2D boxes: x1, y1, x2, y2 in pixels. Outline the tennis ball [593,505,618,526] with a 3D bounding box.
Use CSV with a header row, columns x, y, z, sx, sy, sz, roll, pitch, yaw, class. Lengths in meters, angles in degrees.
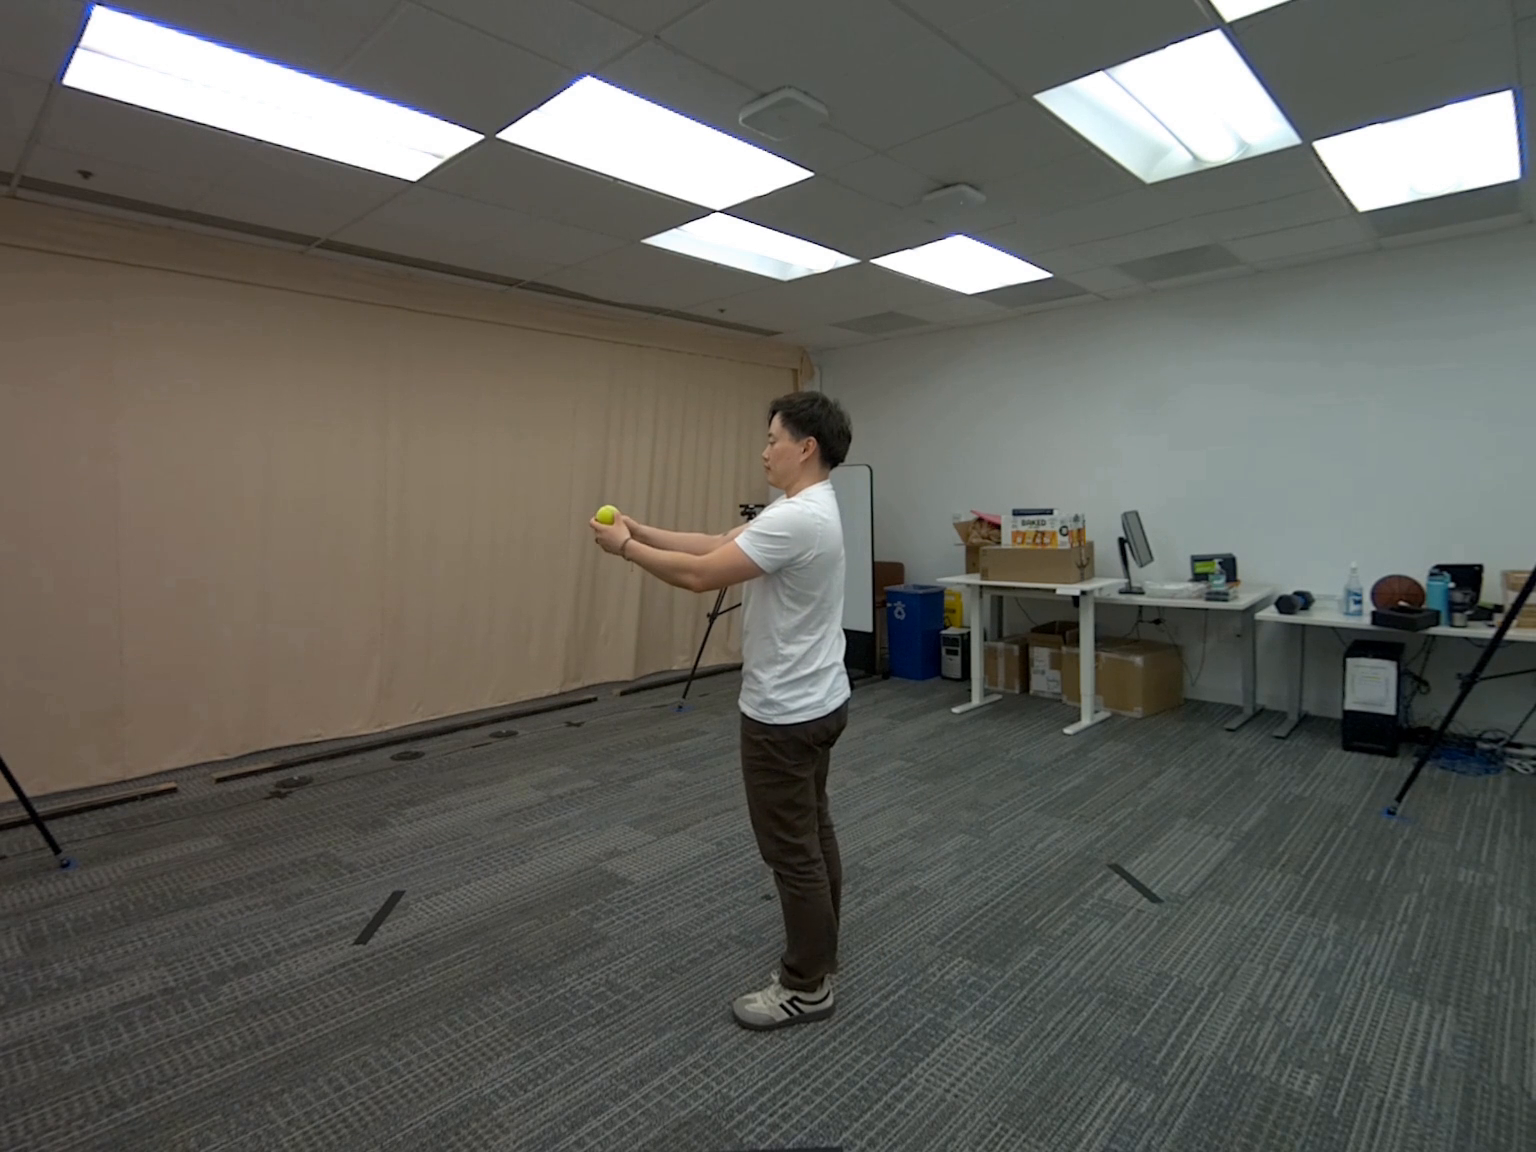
x,y,z,sx,sy,sz,roll,pitch,yaw,class
-0.432,-0.160,2.320,0.066,0.066,0.067,-1,4,-2,tennis ball
